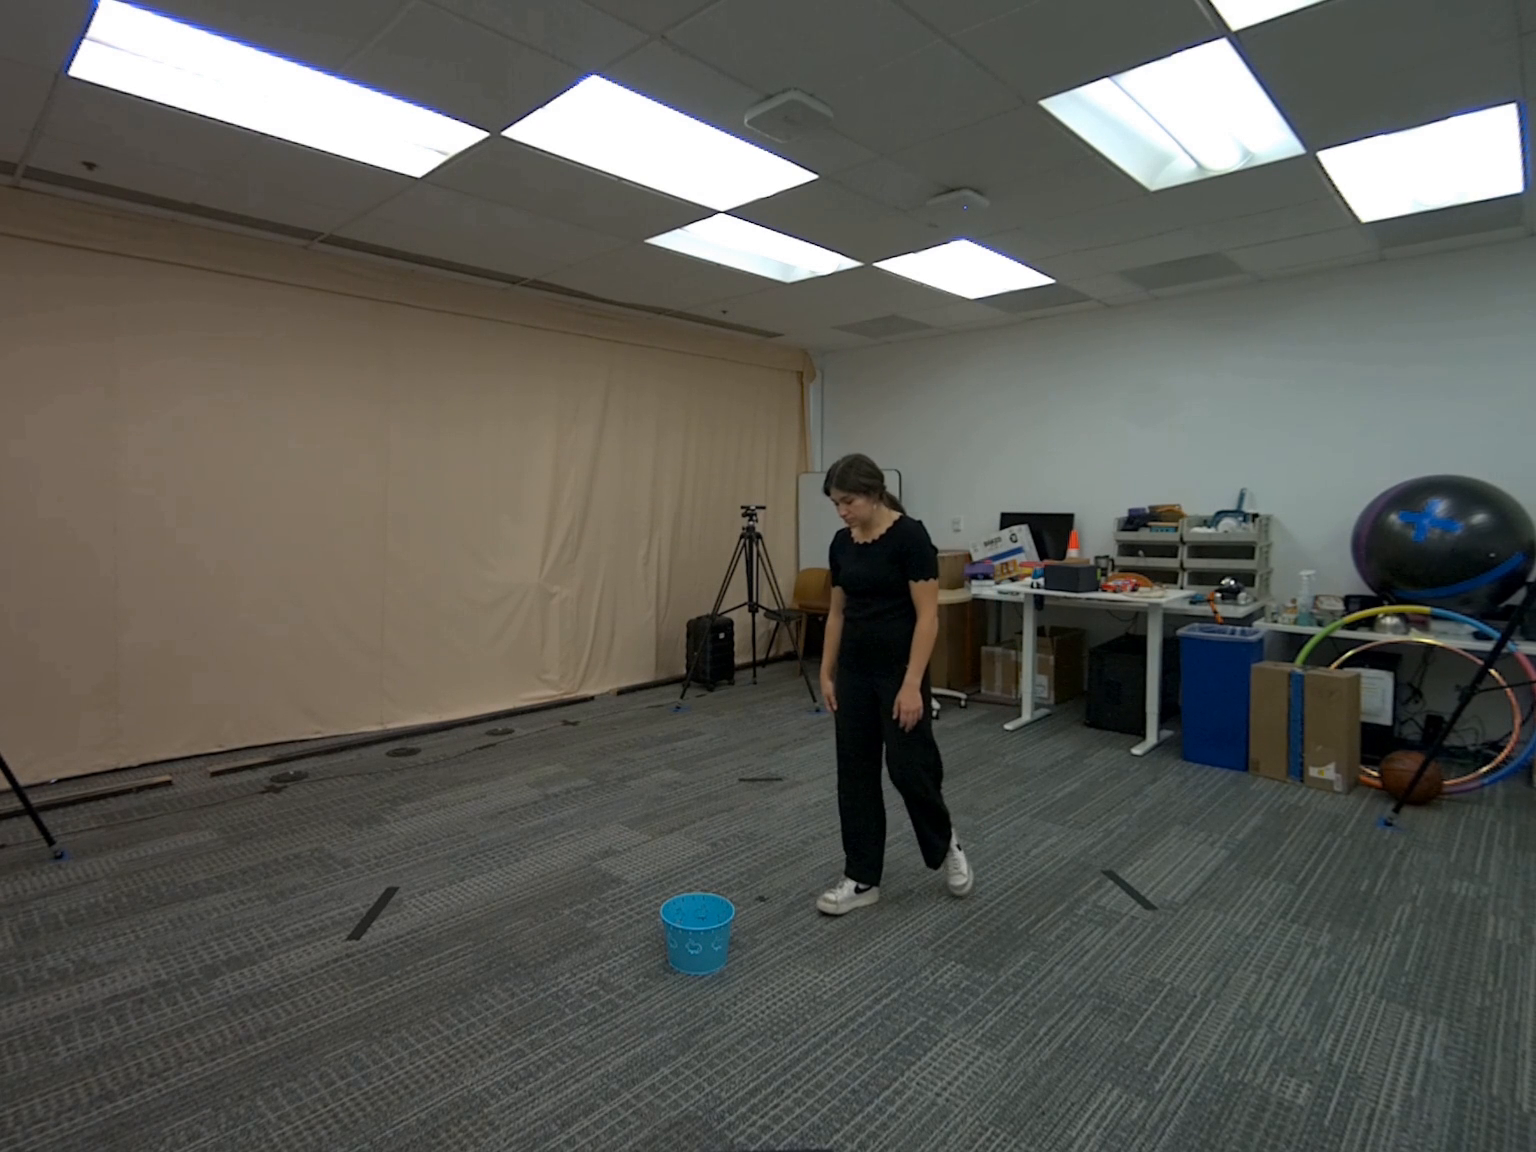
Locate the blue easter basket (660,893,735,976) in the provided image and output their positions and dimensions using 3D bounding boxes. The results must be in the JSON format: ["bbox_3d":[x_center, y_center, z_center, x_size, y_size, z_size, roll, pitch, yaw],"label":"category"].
[{"bbox_3d":[-0.218,1.096,2.590,0.243,0.155,0.244,0,4,-2],"label":"blue easter basket"}]
